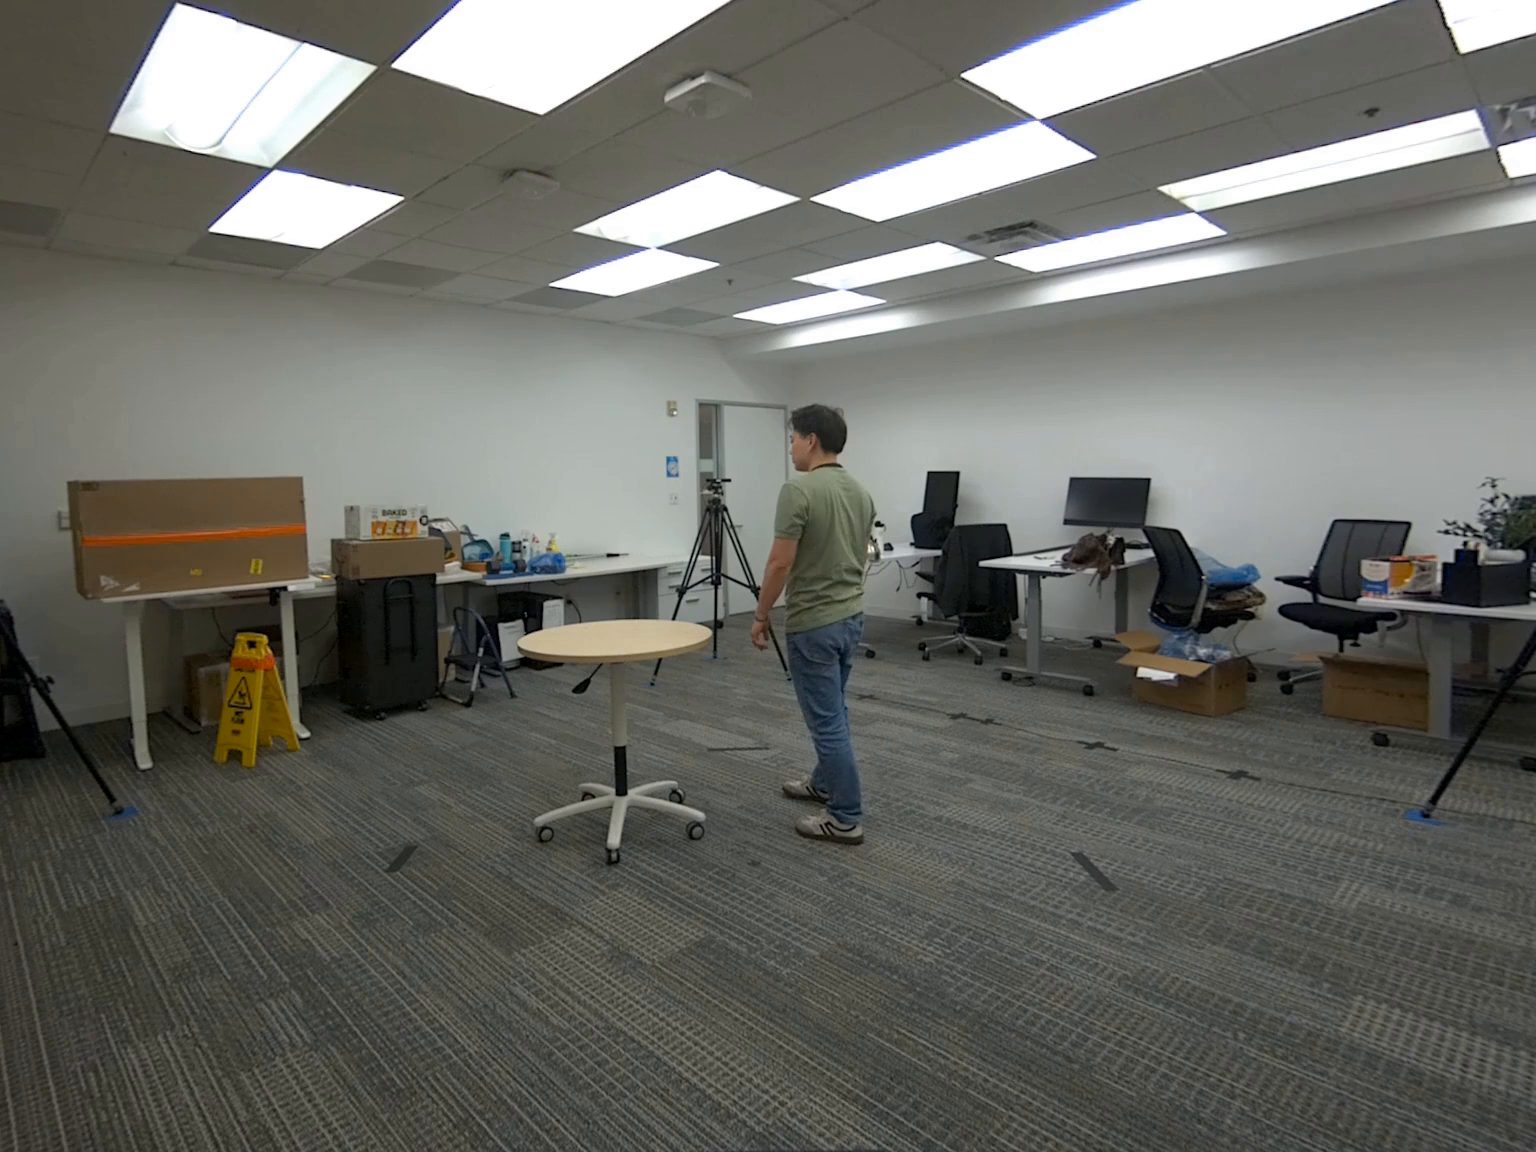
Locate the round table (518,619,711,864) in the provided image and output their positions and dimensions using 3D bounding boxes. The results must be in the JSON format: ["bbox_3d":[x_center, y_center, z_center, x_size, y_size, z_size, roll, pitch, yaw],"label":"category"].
[{"bbox_3d":[-0.590,0.631,3.412,0.763,0.791,0.768,-2,5,-2],"label":"round table"}]
